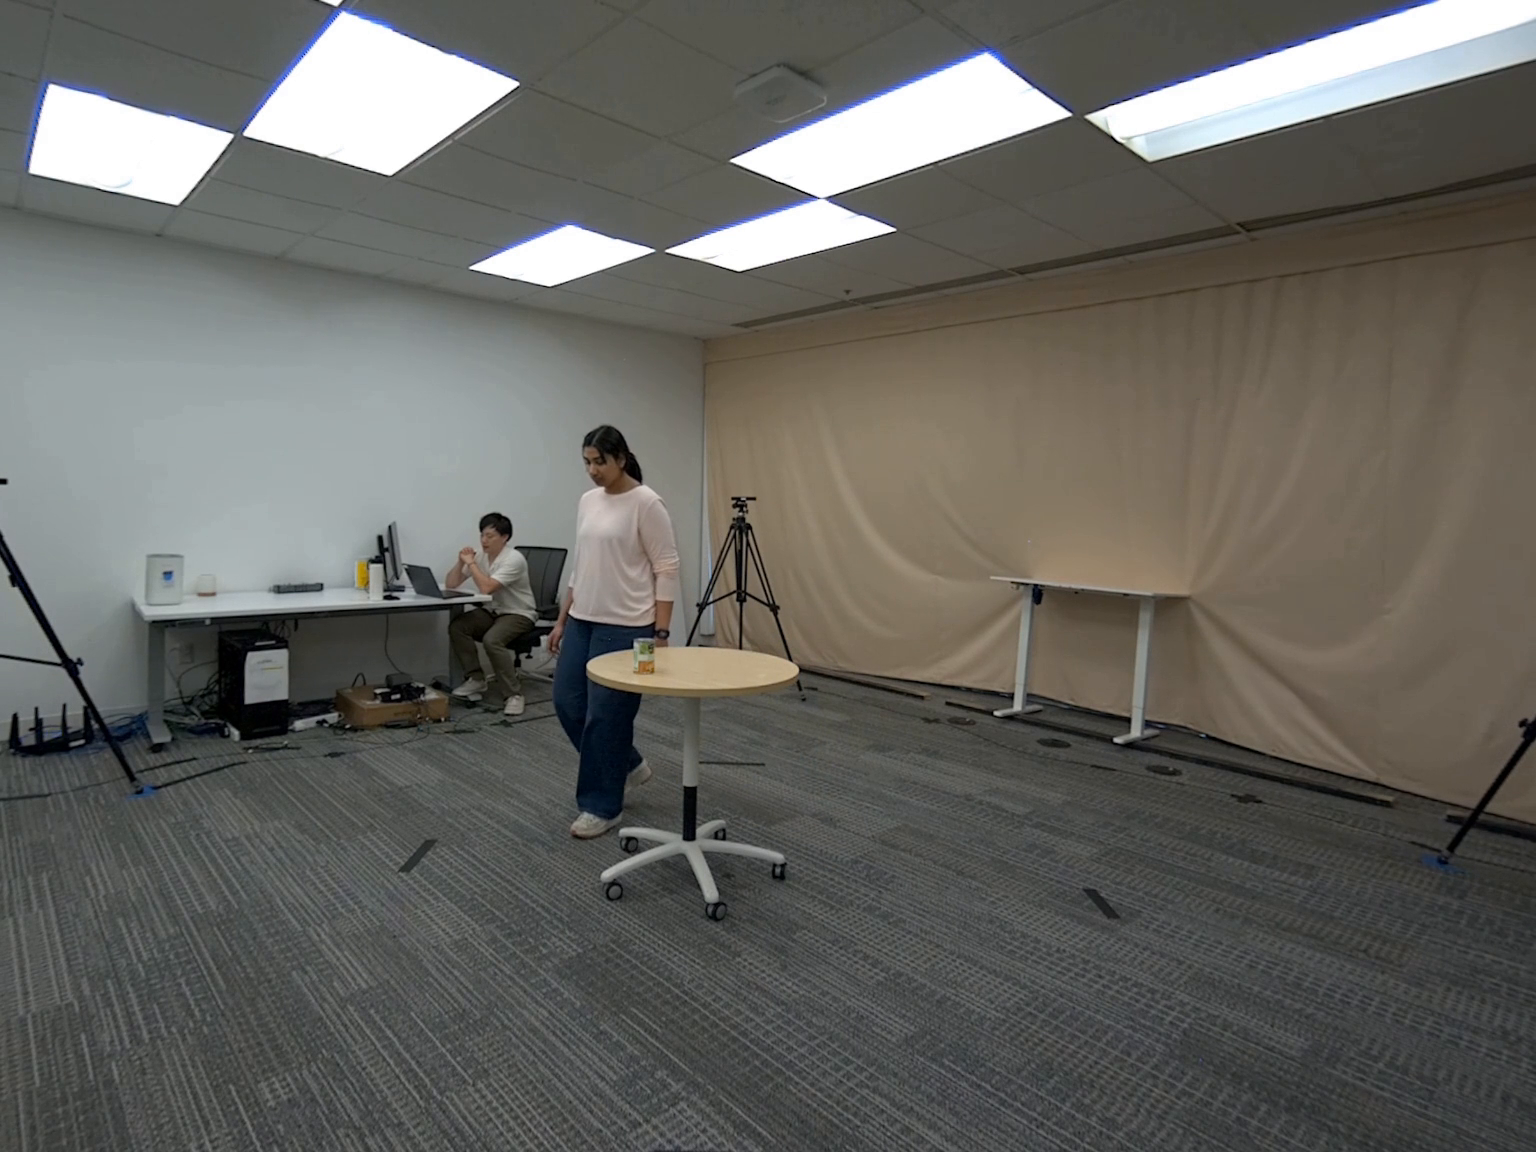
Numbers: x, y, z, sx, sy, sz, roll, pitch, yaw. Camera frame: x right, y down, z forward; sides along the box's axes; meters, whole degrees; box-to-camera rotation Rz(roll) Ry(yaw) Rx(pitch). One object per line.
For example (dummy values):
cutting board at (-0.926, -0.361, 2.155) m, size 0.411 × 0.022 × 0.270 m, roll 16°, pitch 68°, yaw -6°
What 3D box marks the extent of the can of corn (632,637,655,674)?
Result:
can of corn at (-0.434, 0.277, 2.897) m, size 0.074 × 0.111 × 0.074 m, roll 1°, pitch 3°, yaw -1°
